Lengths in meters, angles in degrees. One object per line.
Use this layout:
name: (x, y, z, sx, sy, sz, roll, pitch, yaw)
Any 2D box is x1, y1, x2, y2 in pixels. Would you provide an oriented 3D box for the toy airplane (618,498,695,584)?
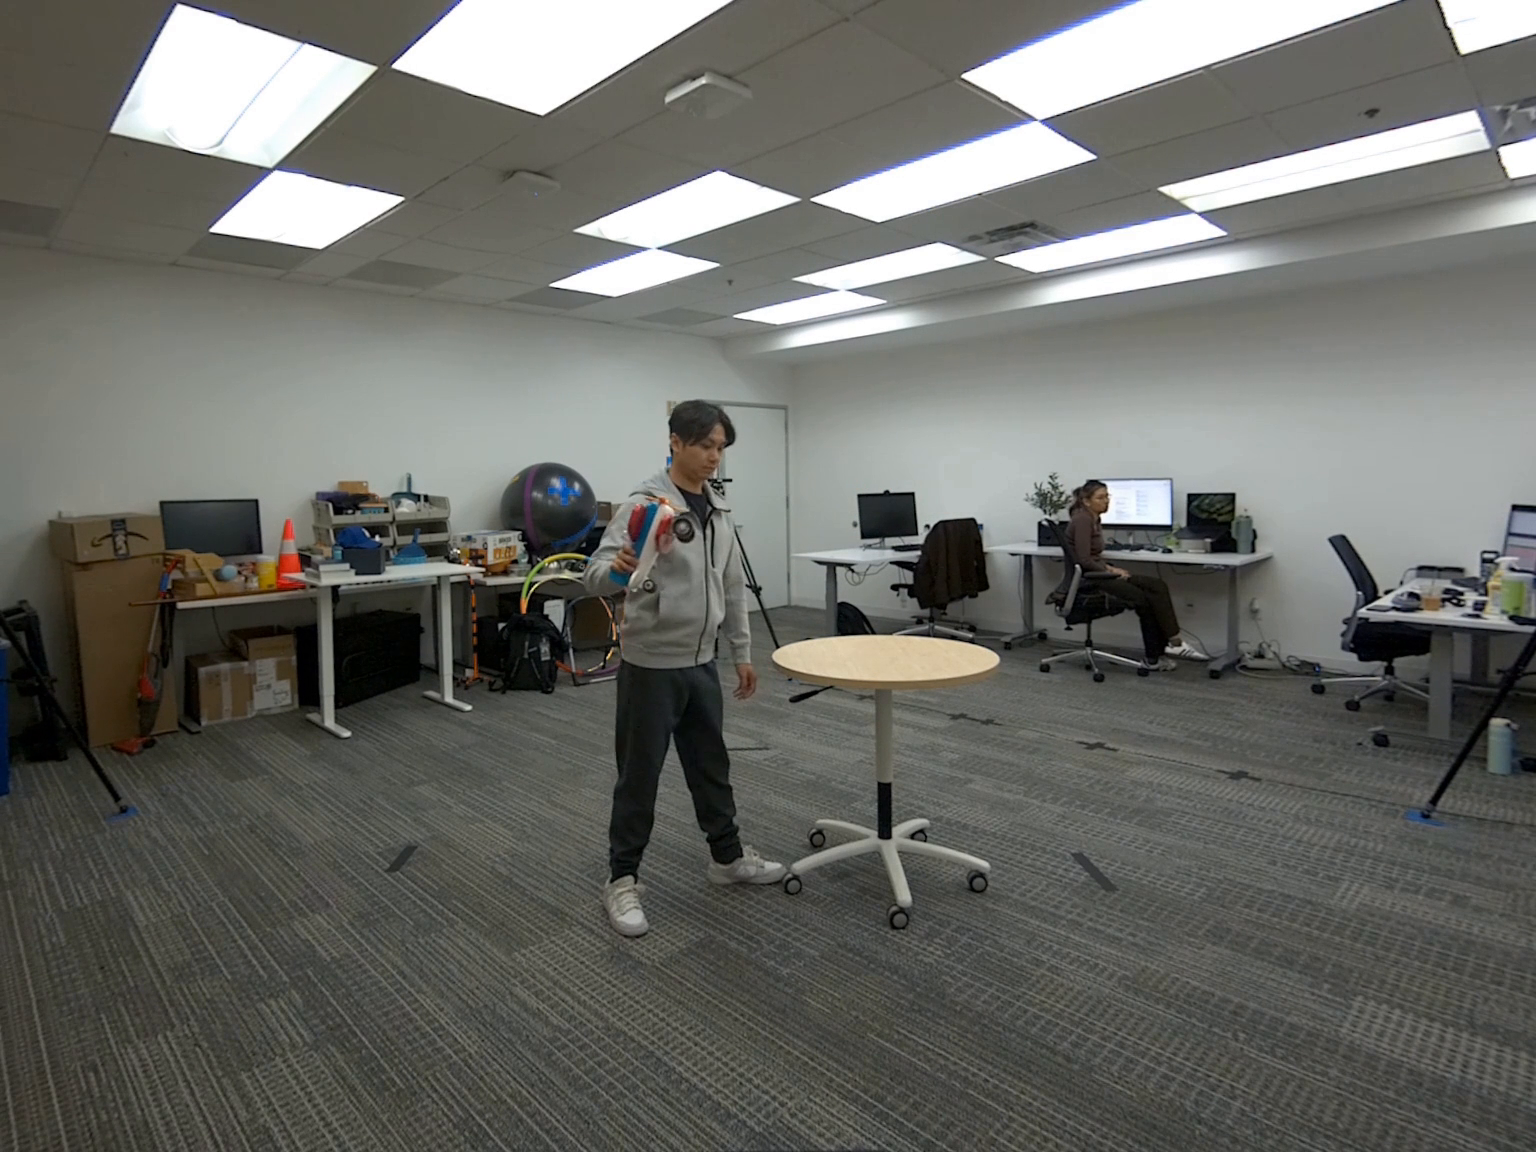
toy airplane: (-0.305, -0.084, 2.267, 0.158, 0.260, 0.247, 33, -33, 8)
